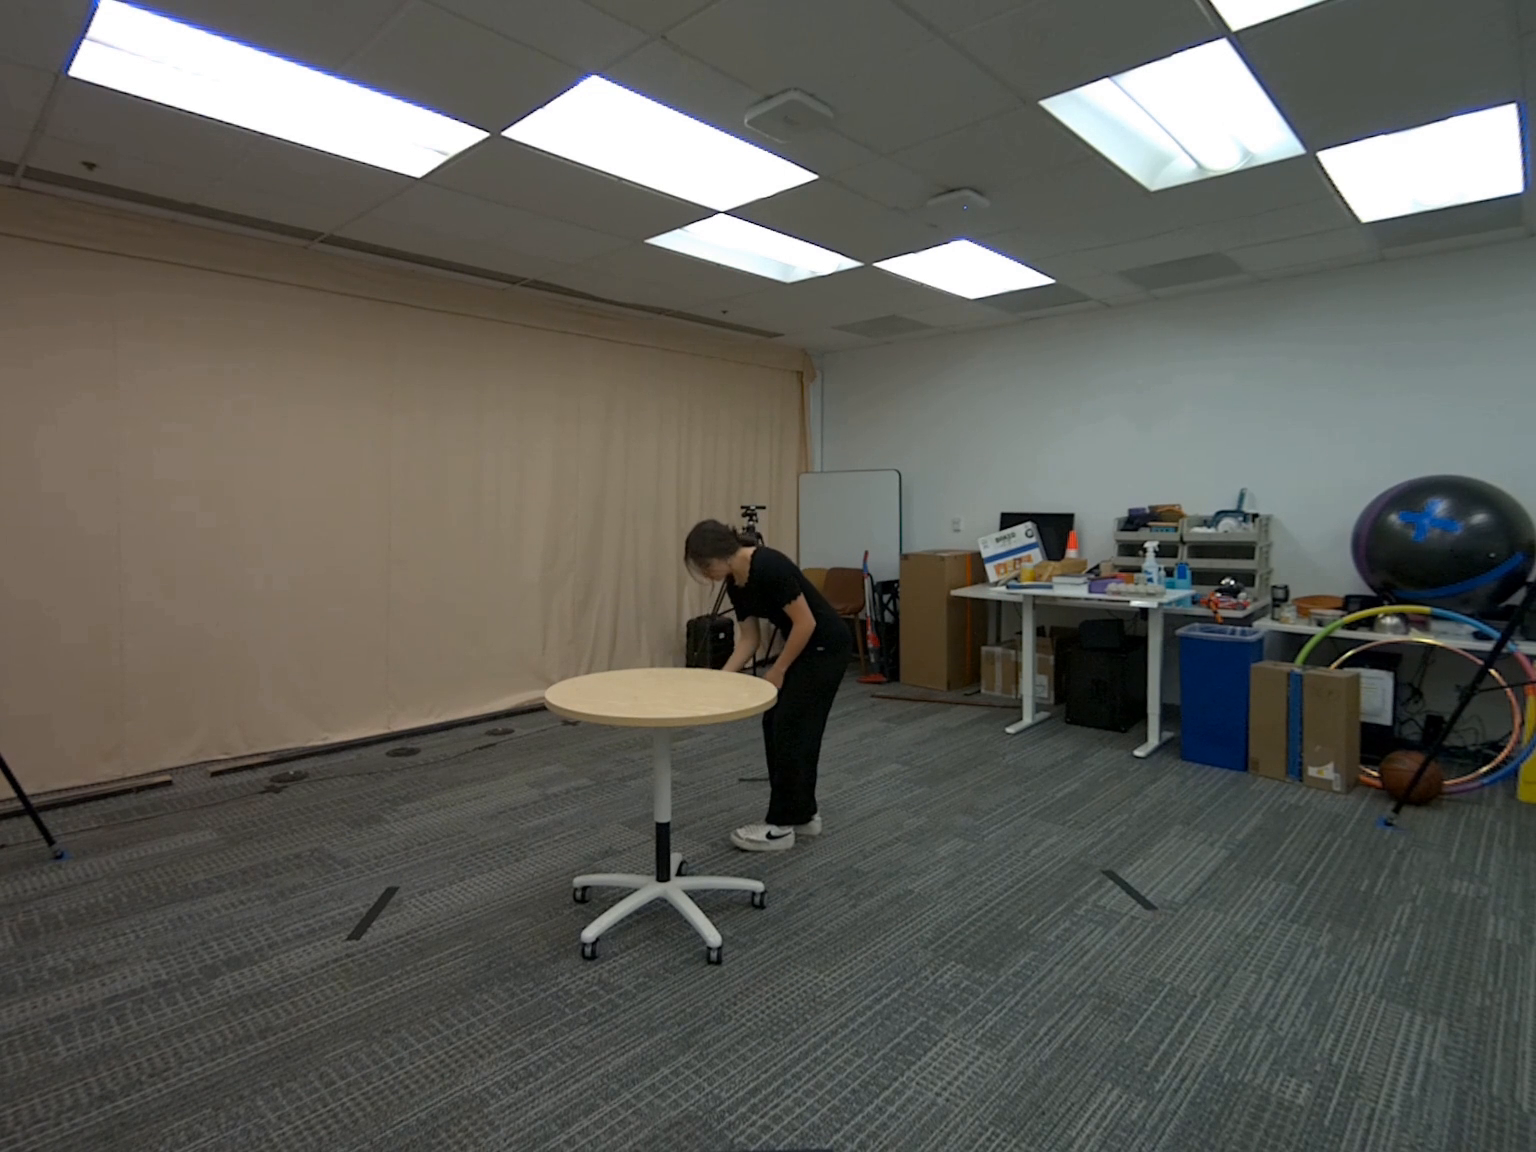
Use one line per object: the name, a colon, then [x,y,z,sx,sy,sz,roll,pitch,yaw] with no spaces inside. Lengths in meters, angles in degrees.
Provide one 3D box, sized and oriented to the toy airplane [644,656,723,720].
toy airplane: [-0.346,0.465,3.499,0.254,0.159,0.252,-6,-31,12]
